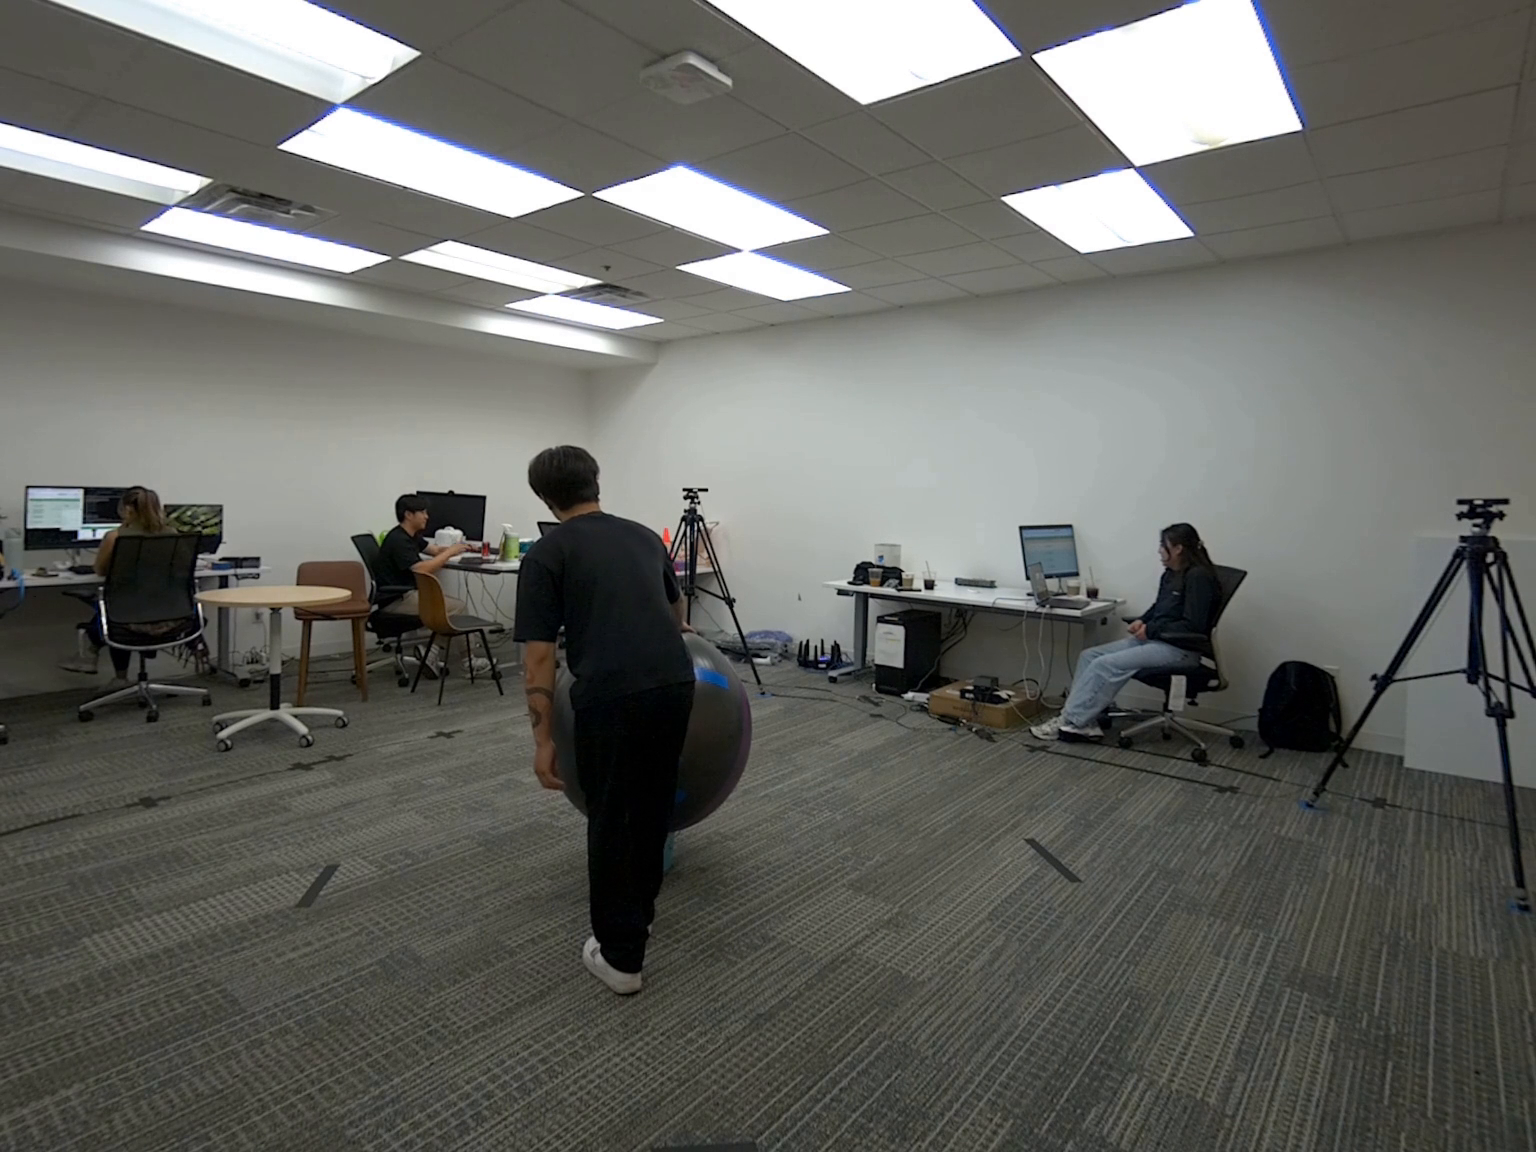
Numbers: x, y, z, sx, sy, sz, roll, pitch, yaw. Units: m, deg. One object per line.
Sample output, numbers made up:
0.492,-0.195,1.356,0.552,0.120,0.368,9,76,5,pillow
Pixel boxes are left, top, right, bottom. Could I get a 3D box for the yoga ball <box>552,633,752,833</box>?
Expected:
-0.447,0.554,3.136,0.757,0.756,0.762,1,4,-2,yoga ball
